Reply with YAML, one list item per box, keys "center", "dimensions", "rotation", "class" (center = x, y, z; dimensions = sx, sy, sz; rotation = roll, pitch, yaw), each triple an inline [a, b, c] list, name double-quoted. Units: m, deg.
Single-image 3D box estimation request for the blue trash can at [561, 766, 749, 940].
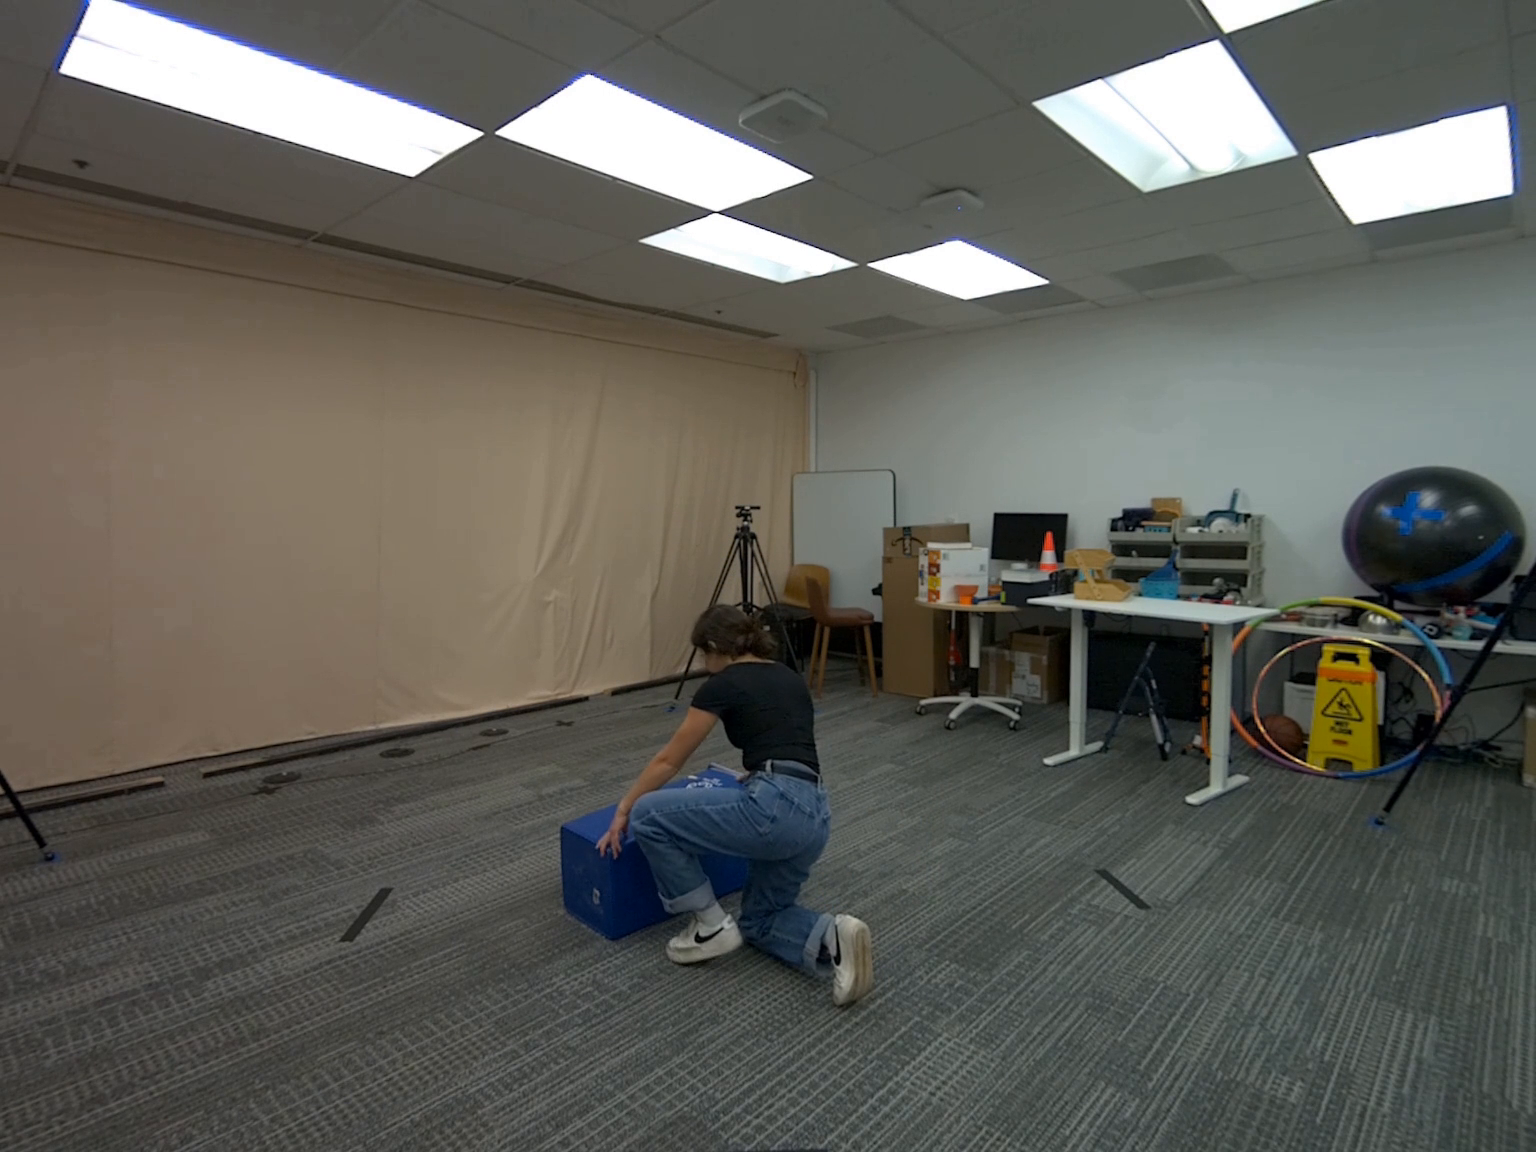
- center: [-0.350, 0.979, 3.016]
  dimensions: [0.693, 0.376, 0.386]
  rotation: [-9, 9, -42]
  class: "blue trash can"
